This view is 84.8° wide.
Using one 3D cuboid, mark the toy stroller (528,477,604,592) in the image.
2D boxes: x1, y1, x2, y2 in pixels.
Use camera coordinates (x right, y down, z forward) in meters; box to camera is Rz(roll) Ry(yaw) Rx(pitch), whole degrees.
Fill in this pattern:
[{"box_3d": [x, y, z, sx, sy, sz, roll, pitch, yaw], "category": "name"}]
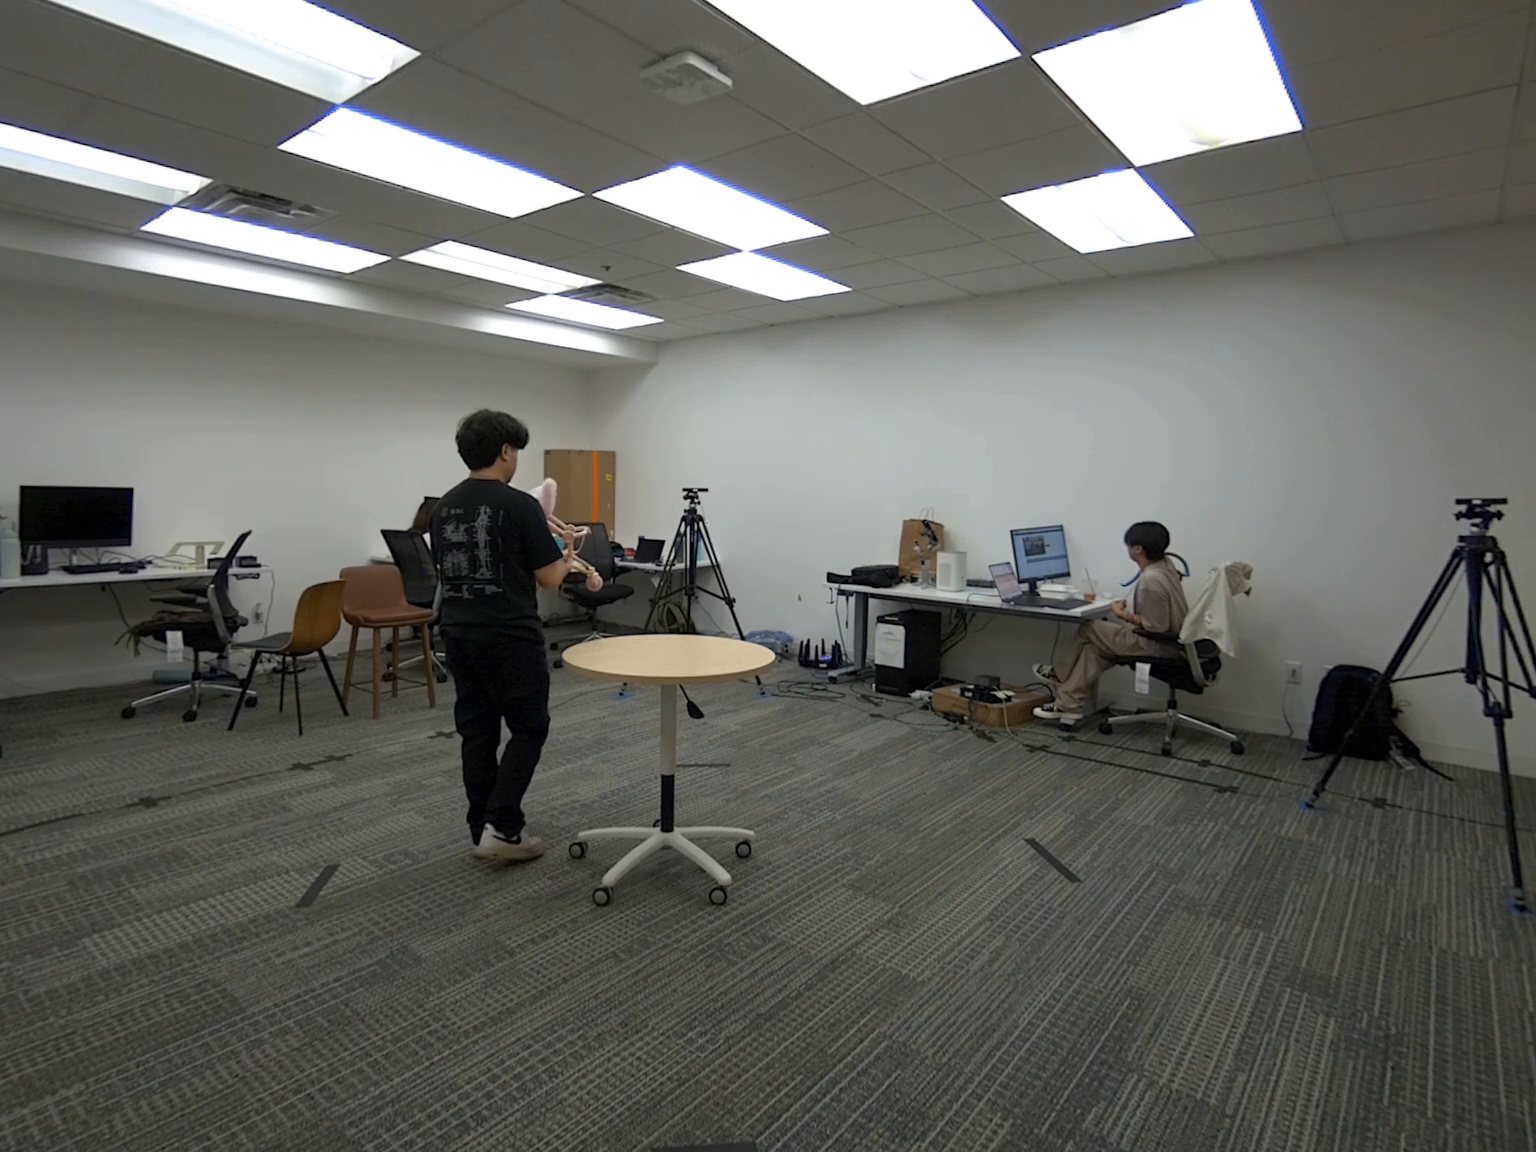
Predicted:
[{"box_3d": [-0.911, -0.169, 3.547, 0.340, 0.529, 0.285, -11, 10, -4], "category": "toy stroller"}]
